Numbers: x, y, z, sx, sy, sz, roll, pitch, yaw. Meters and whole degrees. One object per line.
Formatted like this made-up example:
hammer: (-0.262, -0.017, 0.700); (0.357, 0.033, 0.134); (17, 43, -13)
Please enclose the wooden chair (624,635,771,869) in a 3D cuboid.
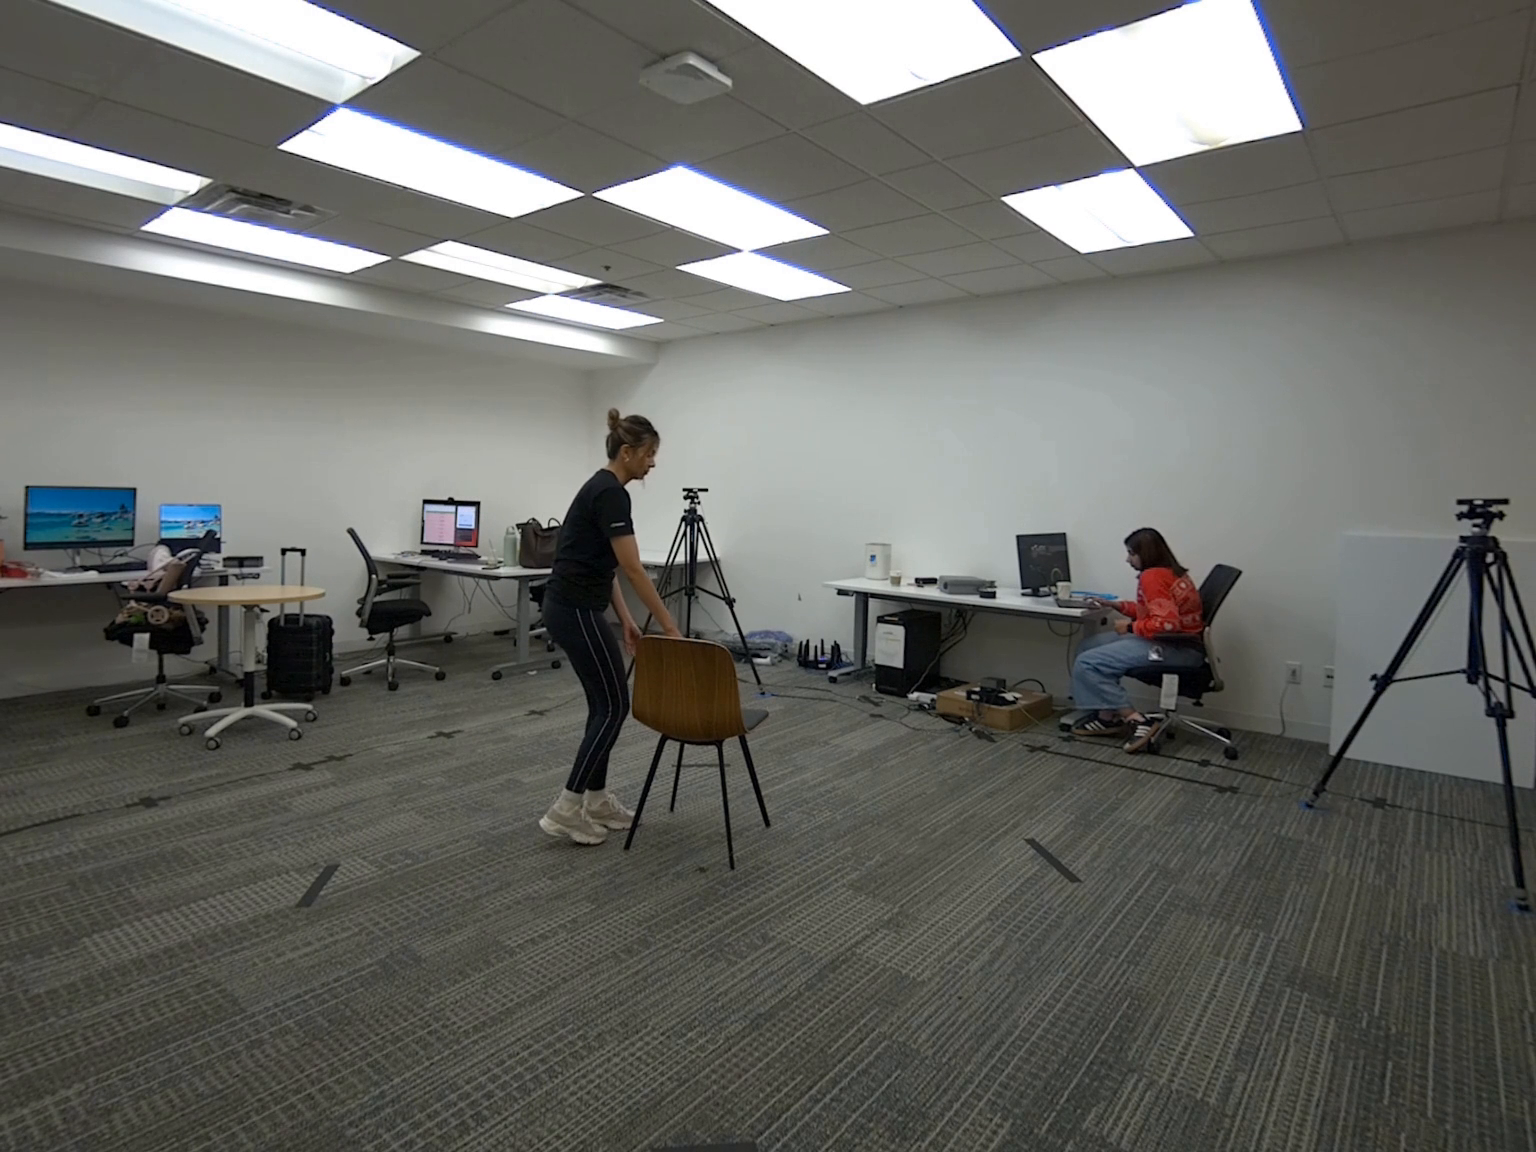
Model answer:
wooden chair: (-0.273, 0.616, 3.374); (0.488, 0.872, 0.515); (1, 7, 20)
